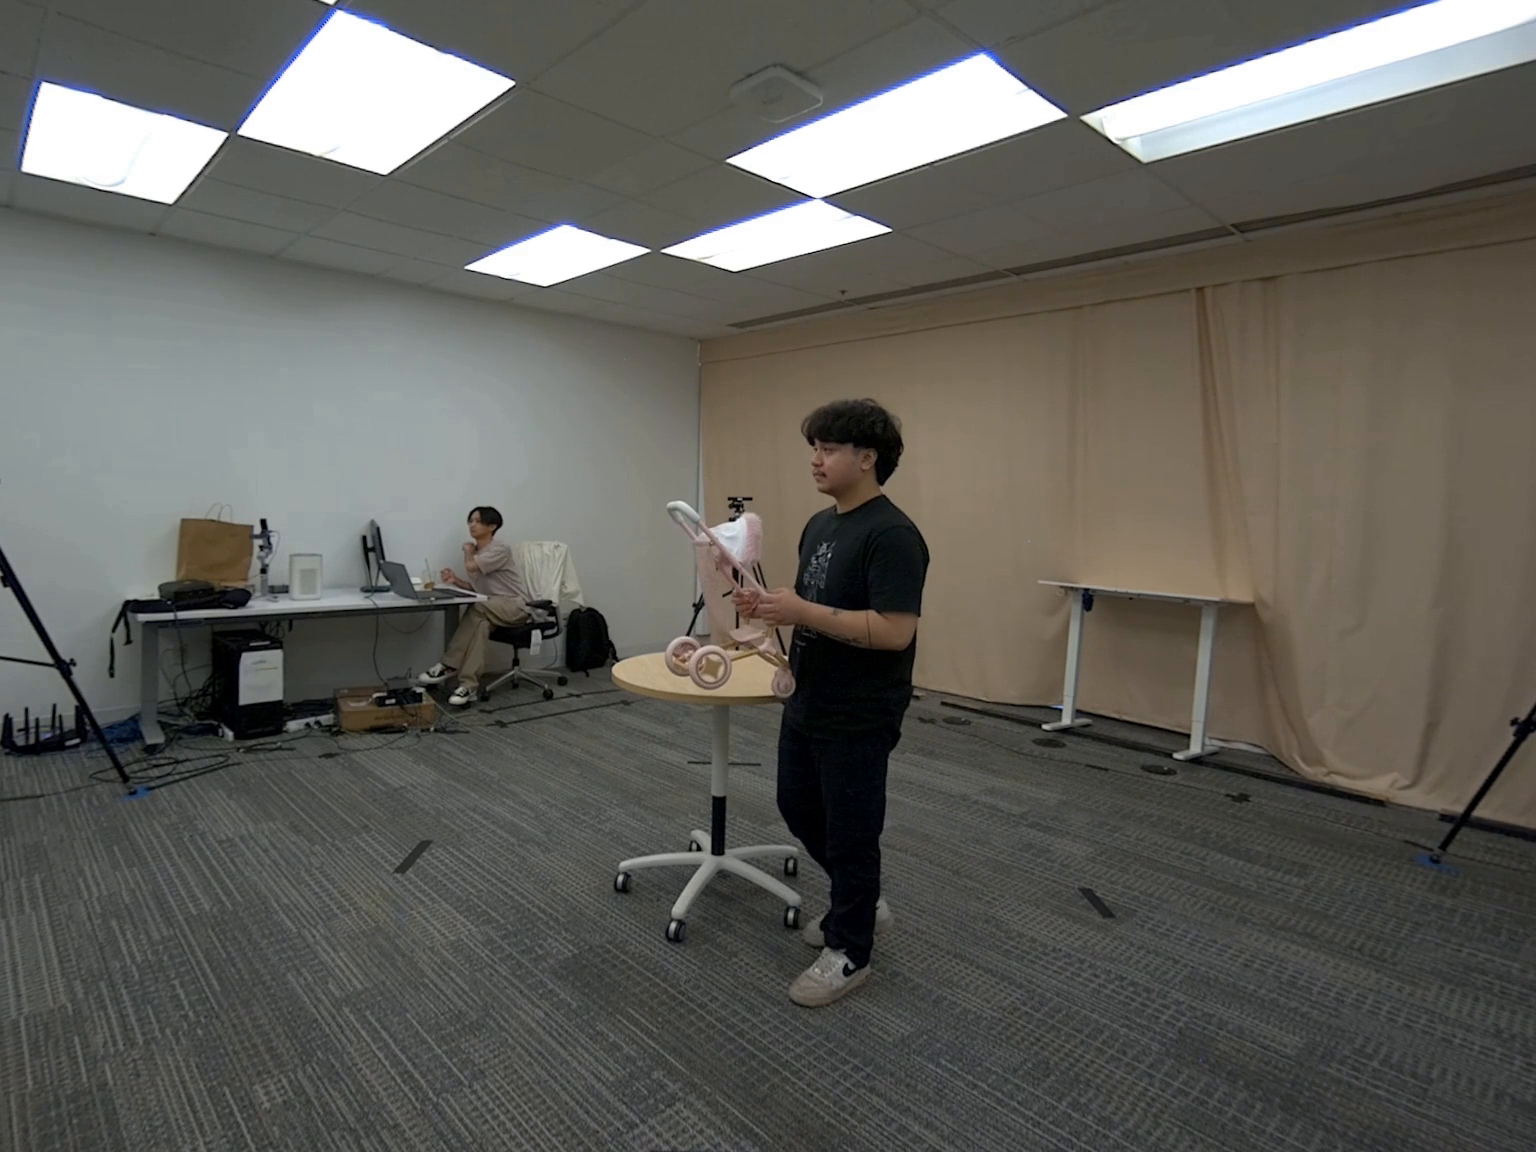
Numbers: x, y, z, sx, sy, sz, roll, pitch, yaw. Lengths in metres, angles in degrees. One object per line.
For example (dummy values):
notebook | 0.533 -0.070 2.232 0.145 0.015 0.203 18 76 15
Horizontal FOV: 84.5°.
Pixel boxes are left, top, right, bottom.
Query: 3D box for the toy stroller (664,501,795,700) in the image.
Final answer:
toy stroller | -0.092 0.072 2.260 0.337 0.535 0.284 -1 -1 -15
